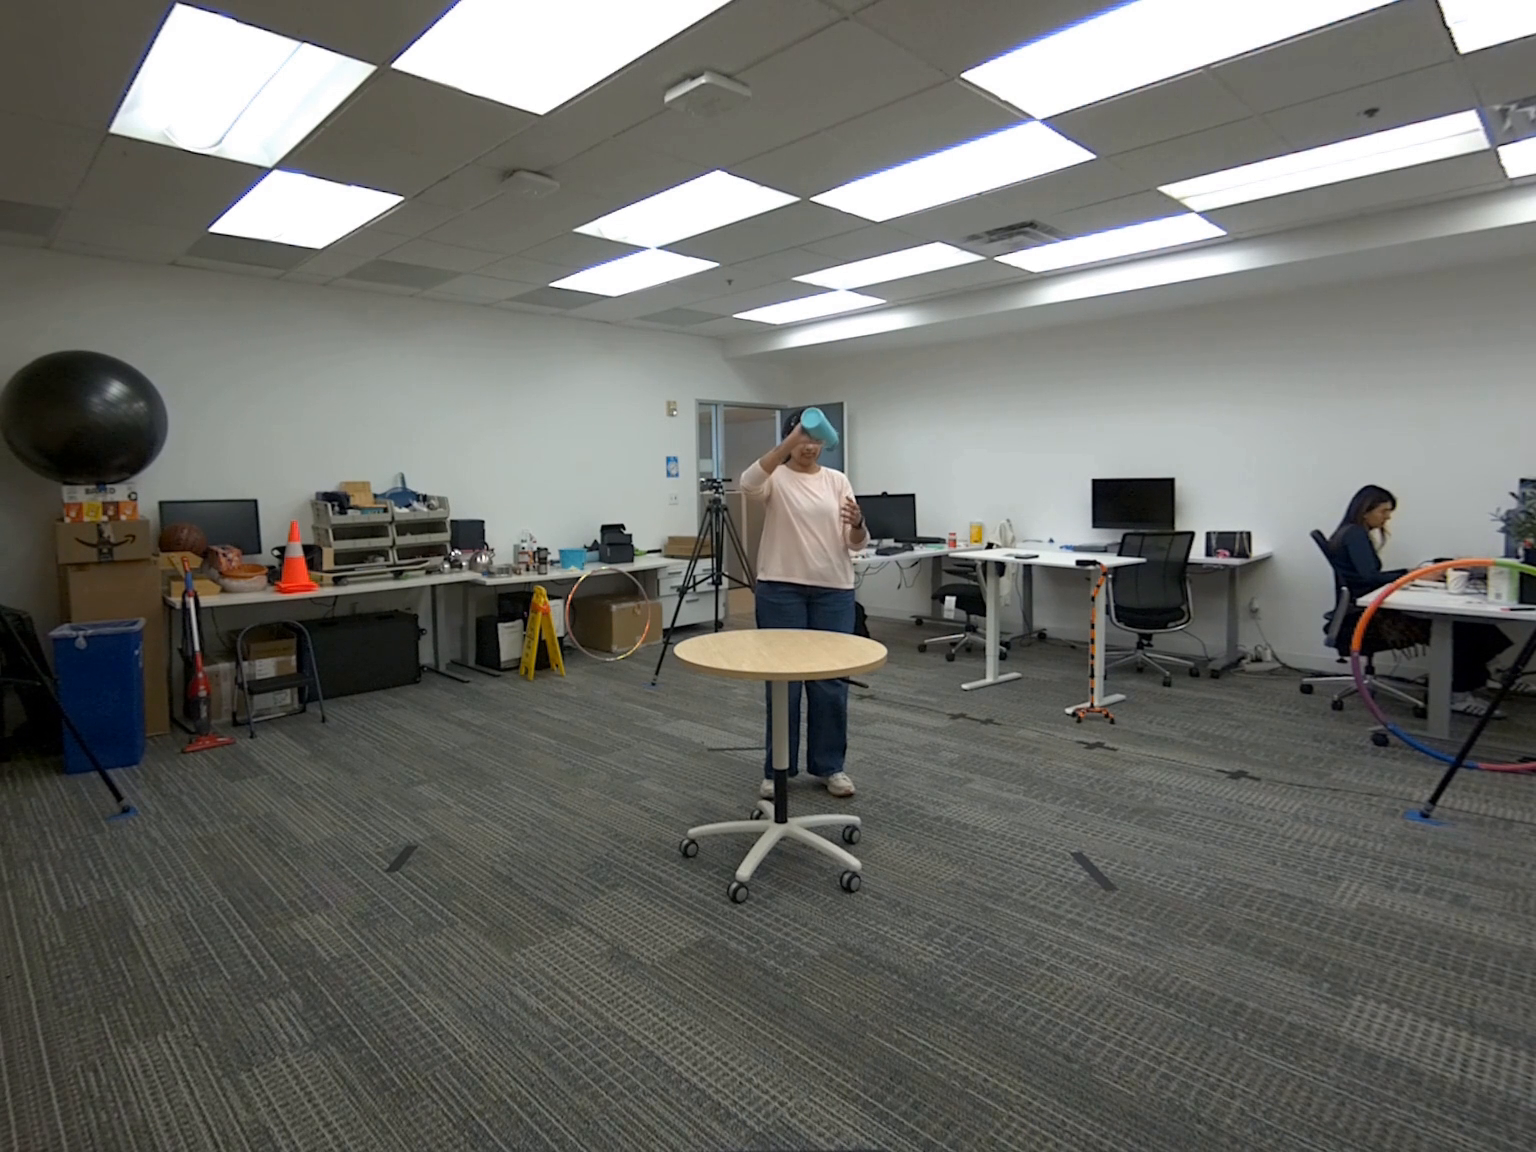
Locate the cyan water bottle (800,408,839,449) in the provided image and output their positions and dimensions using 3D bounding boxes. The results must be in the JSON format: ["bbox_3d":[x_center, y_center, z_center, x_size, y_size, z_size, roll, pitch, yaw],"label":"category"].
[{"bbox_3d":[0.214,-0.579,3.443,0.094,0.093,0.274,1,-14,22],"label":"cyan water bottle"}]
